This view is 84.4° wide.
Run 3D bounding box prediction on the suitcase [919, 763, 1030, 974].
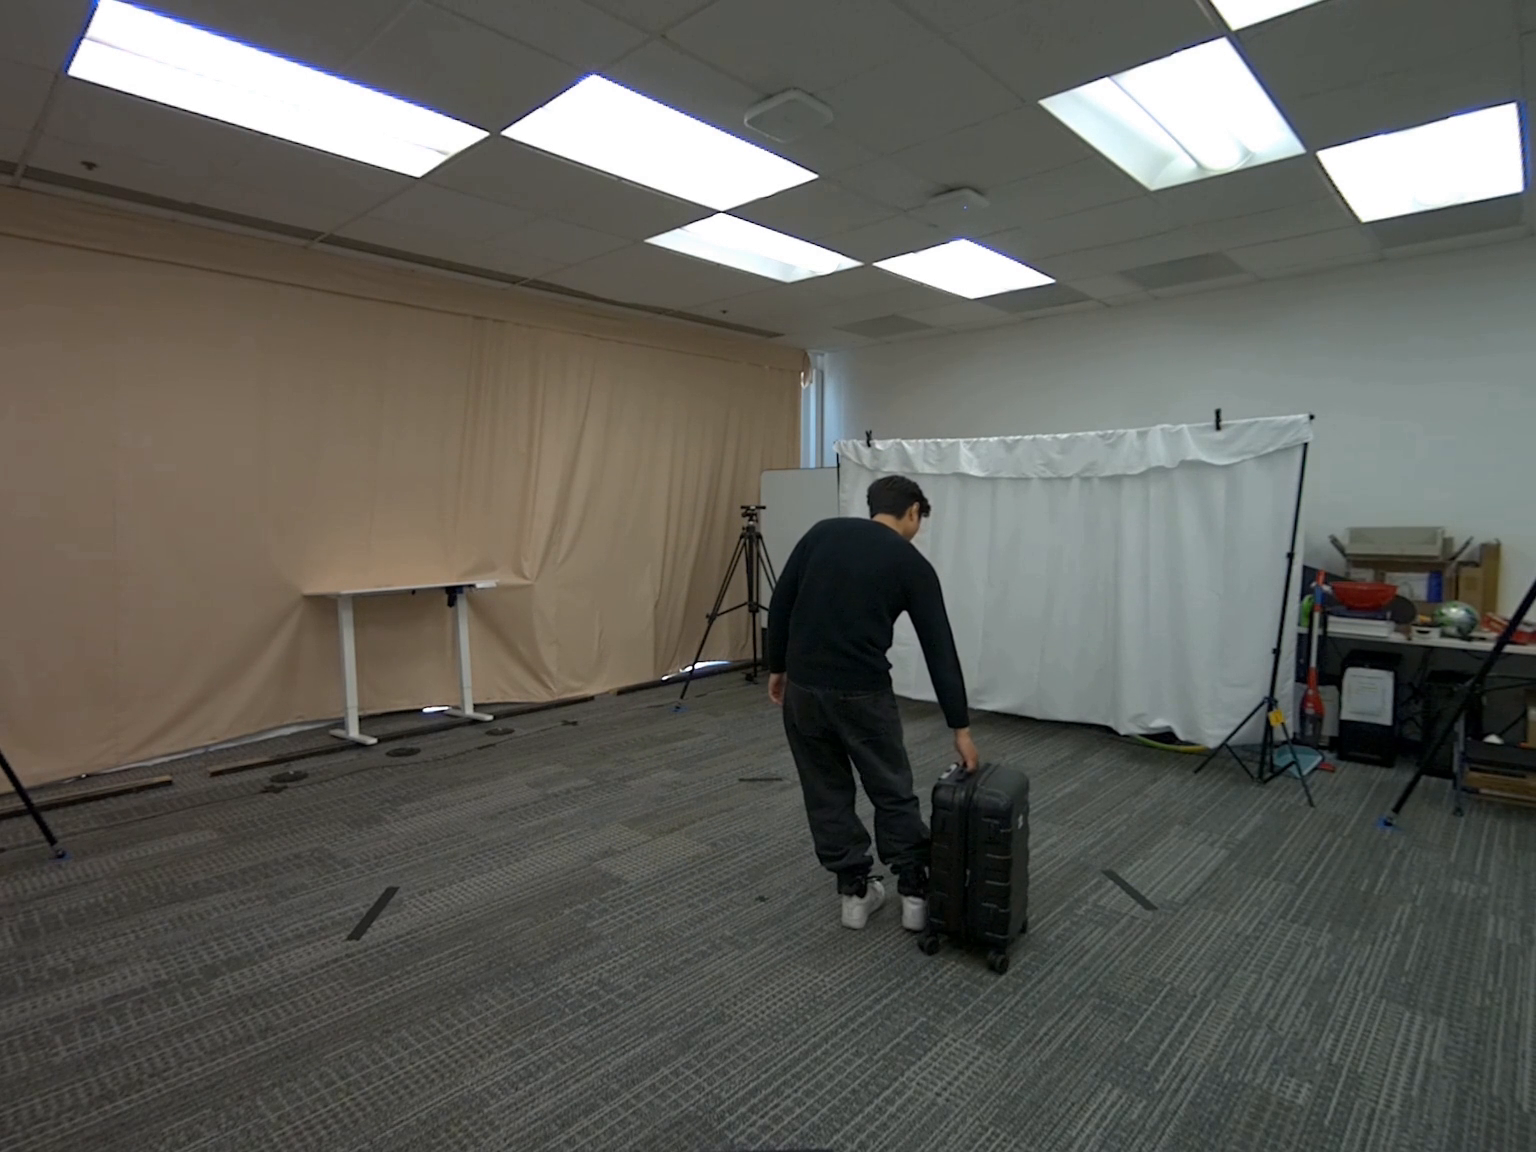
[{"bbox_3d":[0.687,0.891,2.688,0.255,0.548,0.365,3,3,29],"label":"suitcase"}]
